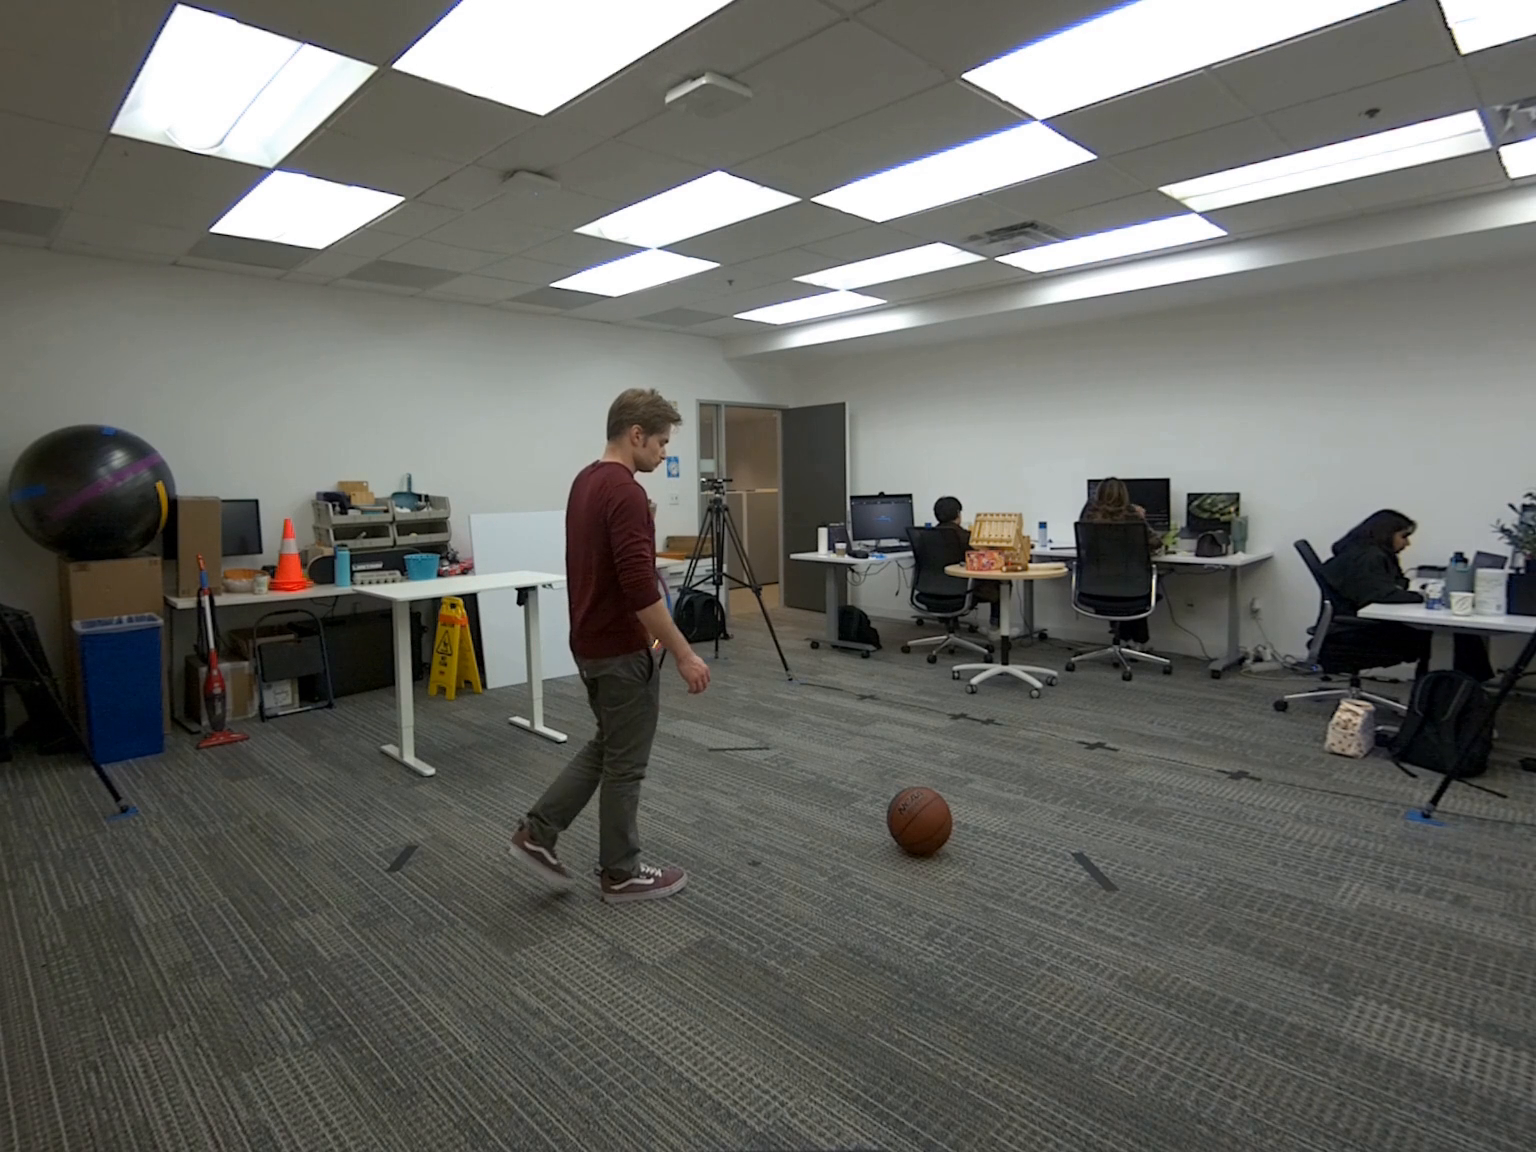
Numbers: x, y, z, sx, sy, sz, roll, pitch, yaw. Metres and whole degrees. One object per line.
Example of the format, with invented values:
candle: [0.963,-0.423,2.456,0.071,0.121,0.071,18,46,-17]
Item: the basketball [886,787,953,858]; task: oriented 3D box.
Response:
basketball: [0.566,0.908,3.173,0.236,0.235,0.237,-1,5,-2]
